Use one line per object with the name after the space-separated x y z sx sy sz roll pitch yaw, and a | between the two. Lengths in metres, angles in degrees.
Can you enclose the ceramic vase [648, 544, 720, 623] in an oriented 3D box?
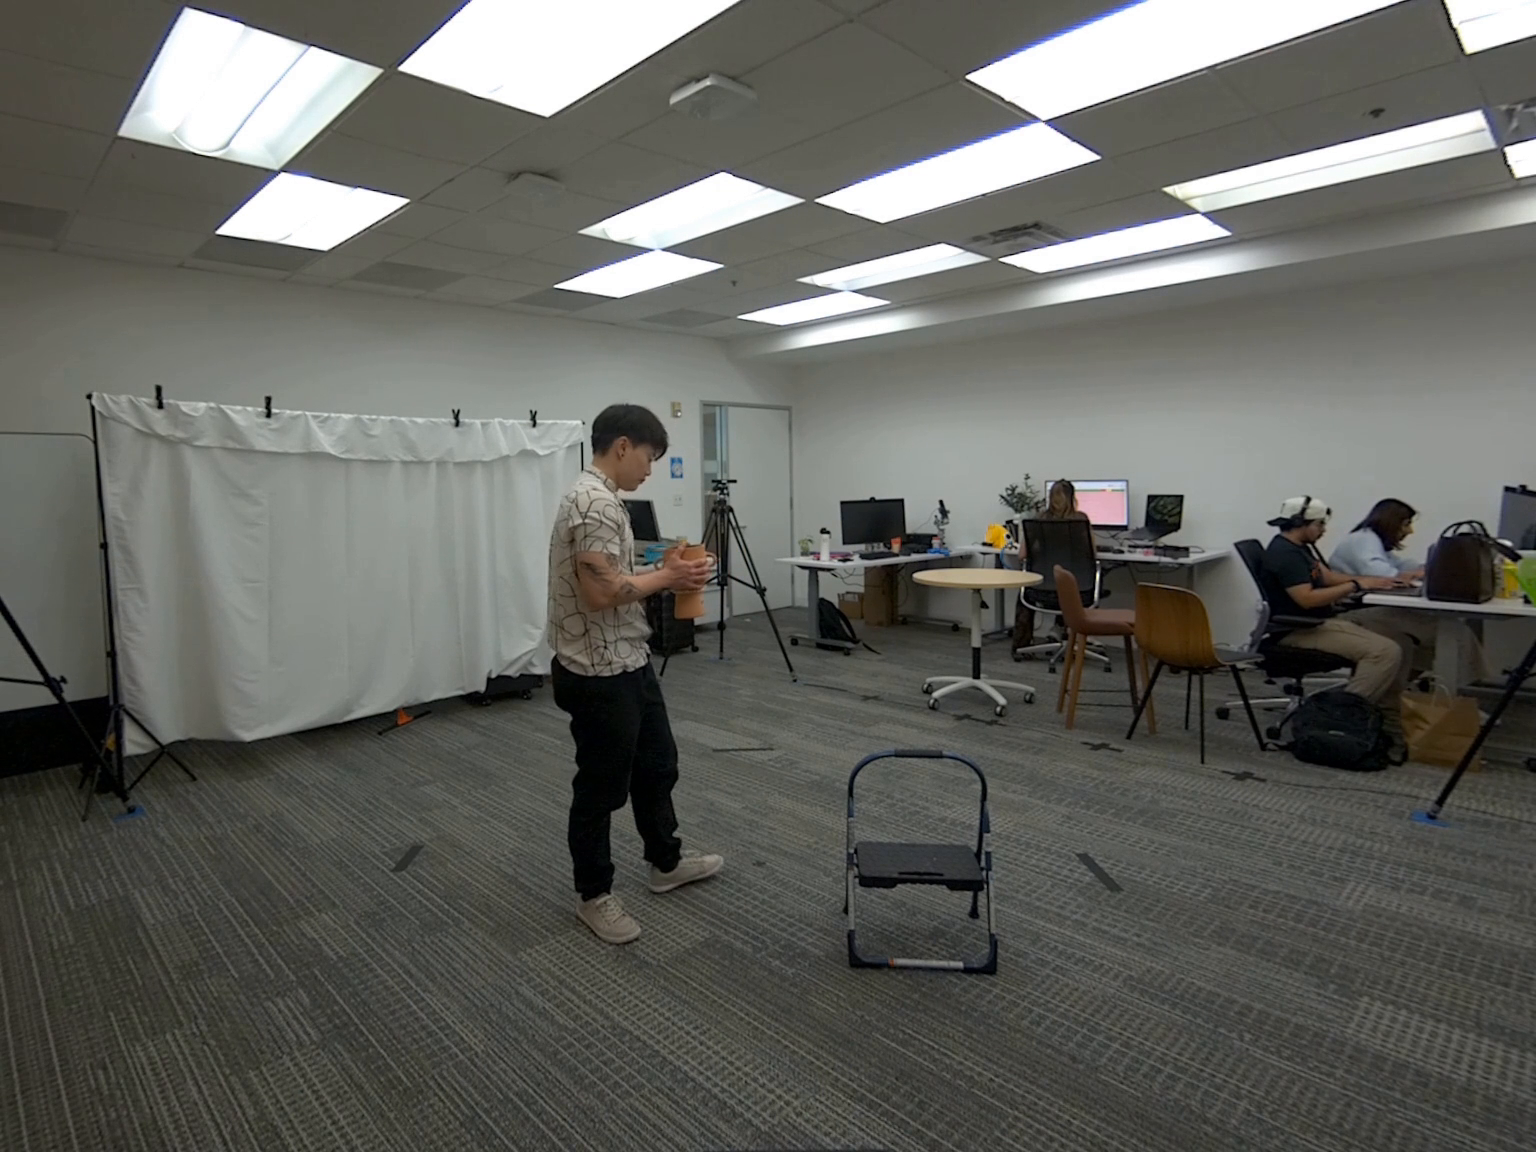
-0.265 0.018 2.681 0.163 0.219 0.131 2 8 43 | ceramic vase
